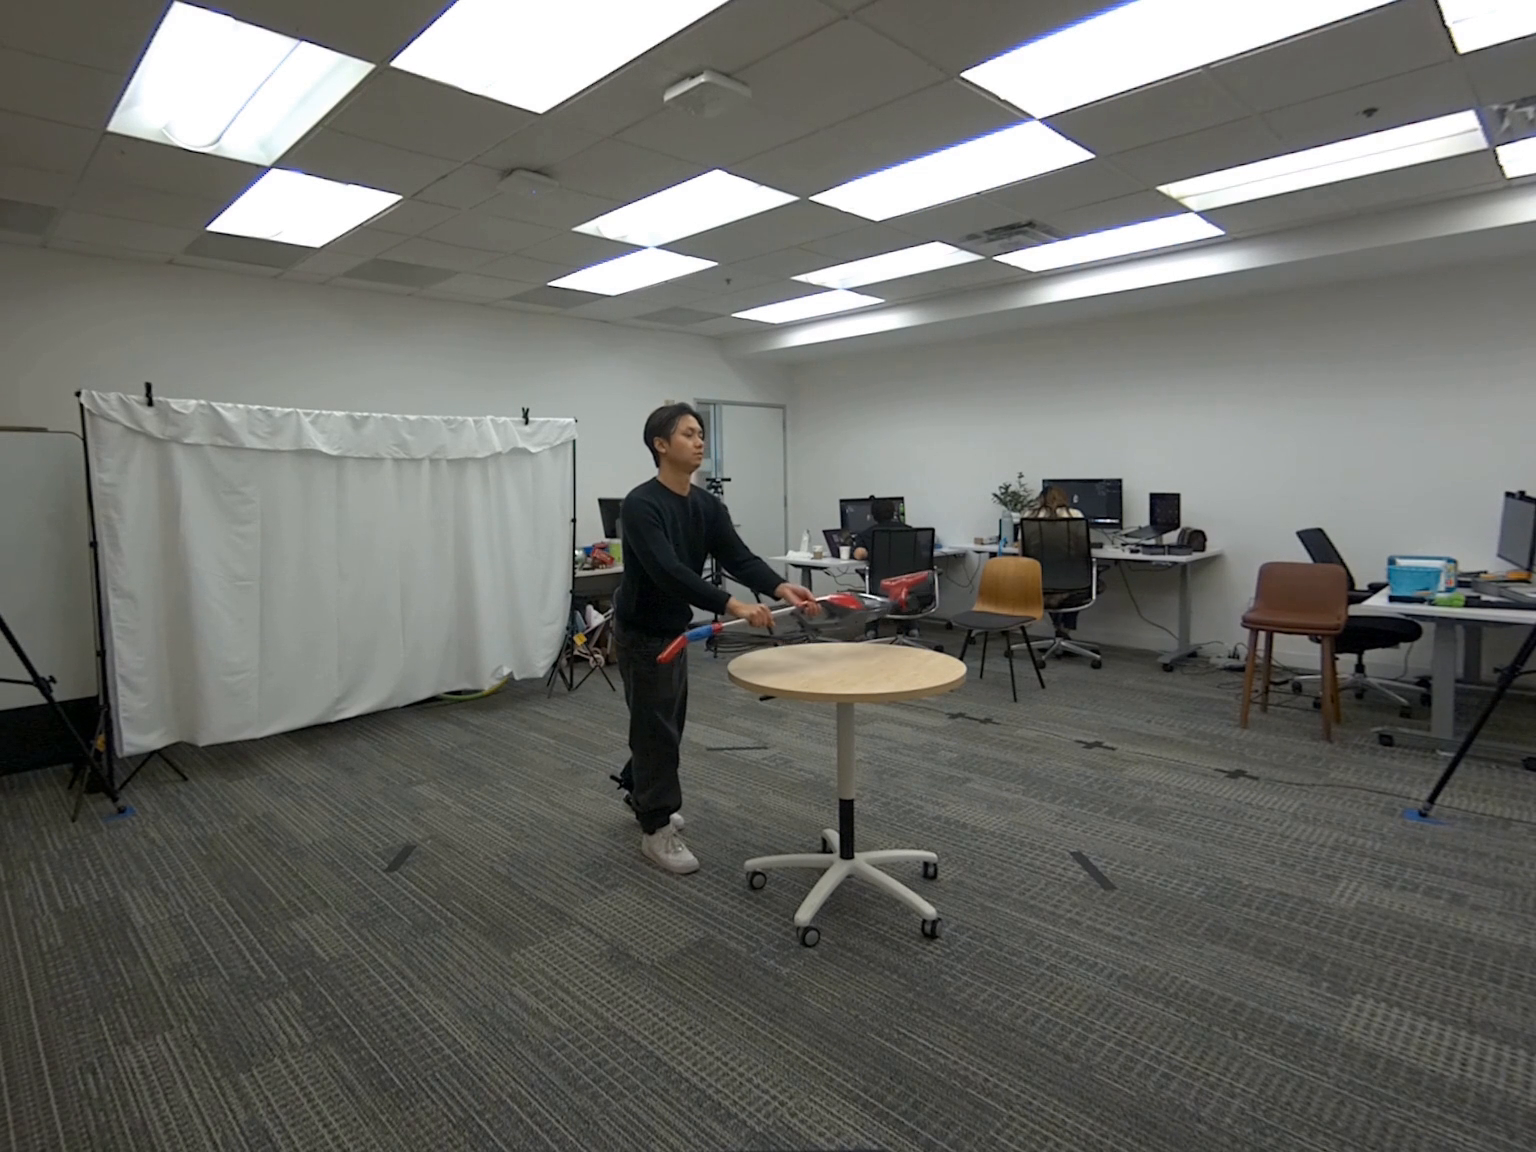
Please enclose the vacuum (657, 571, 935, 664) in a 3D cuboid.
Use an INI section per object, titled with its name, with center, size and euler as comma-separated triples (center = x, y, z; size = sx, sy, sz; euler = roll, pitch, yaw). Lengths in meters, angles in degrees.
[vacuum]
center = 0.095, 0.163, 2.777
size = 1.026, 0.144, 0.258
euler = -12, 2, -37
